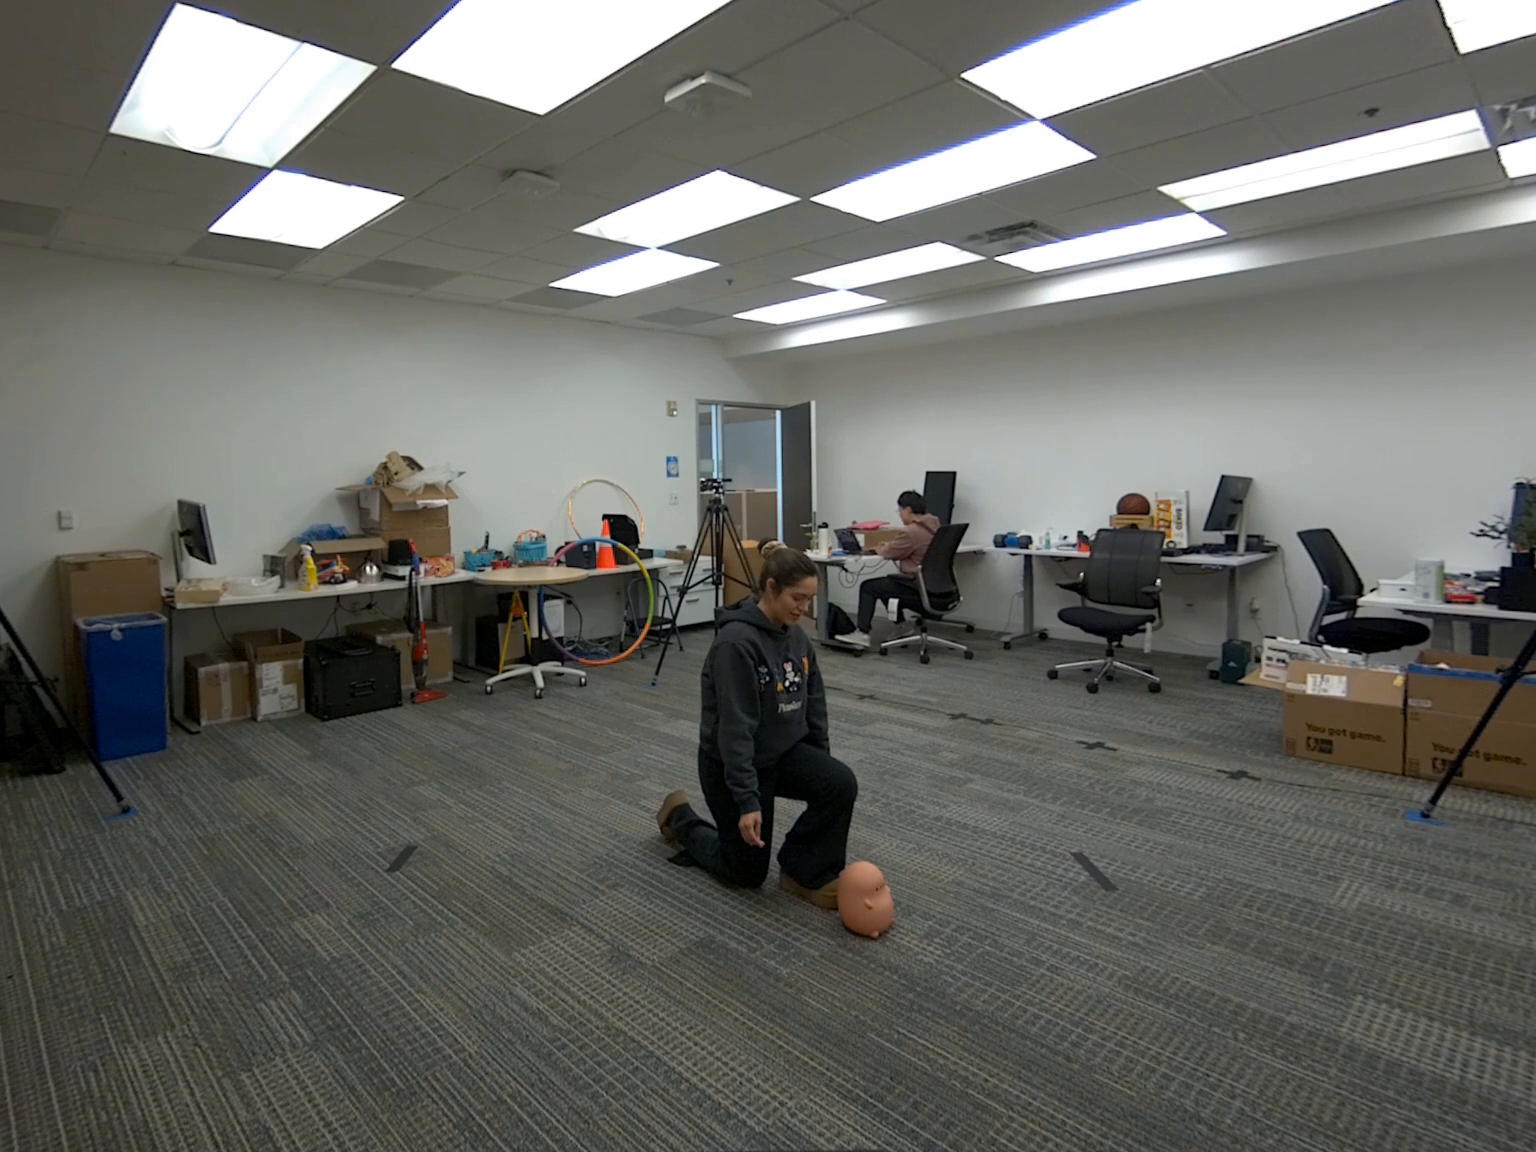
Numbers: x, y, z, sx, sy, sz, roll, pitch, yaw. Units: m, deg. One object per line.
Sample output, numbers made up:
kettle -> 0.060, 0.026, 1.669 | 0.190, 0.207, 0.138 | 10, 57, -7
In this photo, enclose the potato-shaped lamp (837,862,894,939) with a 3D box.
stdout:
potato-shaped lamp -> 0.303, 0.990, 2.639 | 0.176, 0.198, 0.160 | -2, 2, 37
